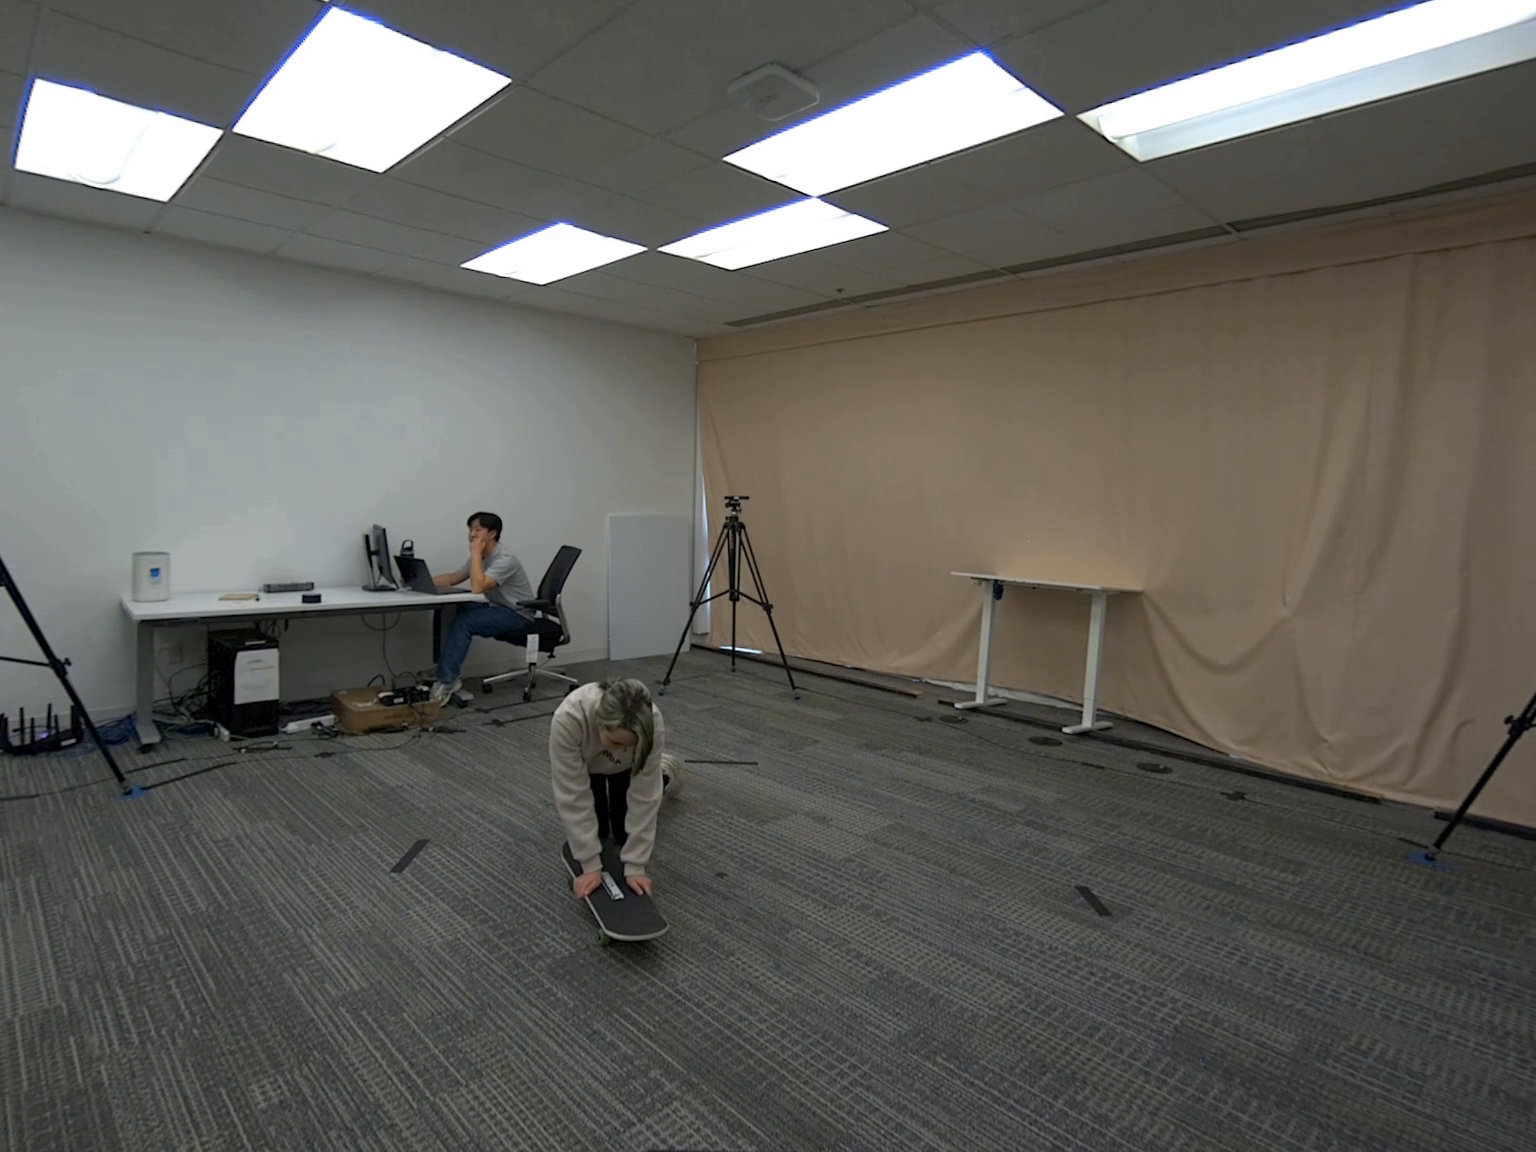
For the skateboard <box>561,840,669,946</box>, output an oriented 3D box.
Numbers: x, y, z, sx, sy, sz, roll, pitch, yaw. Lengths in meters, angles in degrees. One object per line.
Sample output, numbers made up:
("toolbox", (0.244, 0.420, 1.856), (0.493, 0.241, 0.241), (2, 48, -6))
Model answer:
("skateboard", (-0.543, 1.068, 2.817), (0.190, 0.110, 0.802), (1, 5, -25))
